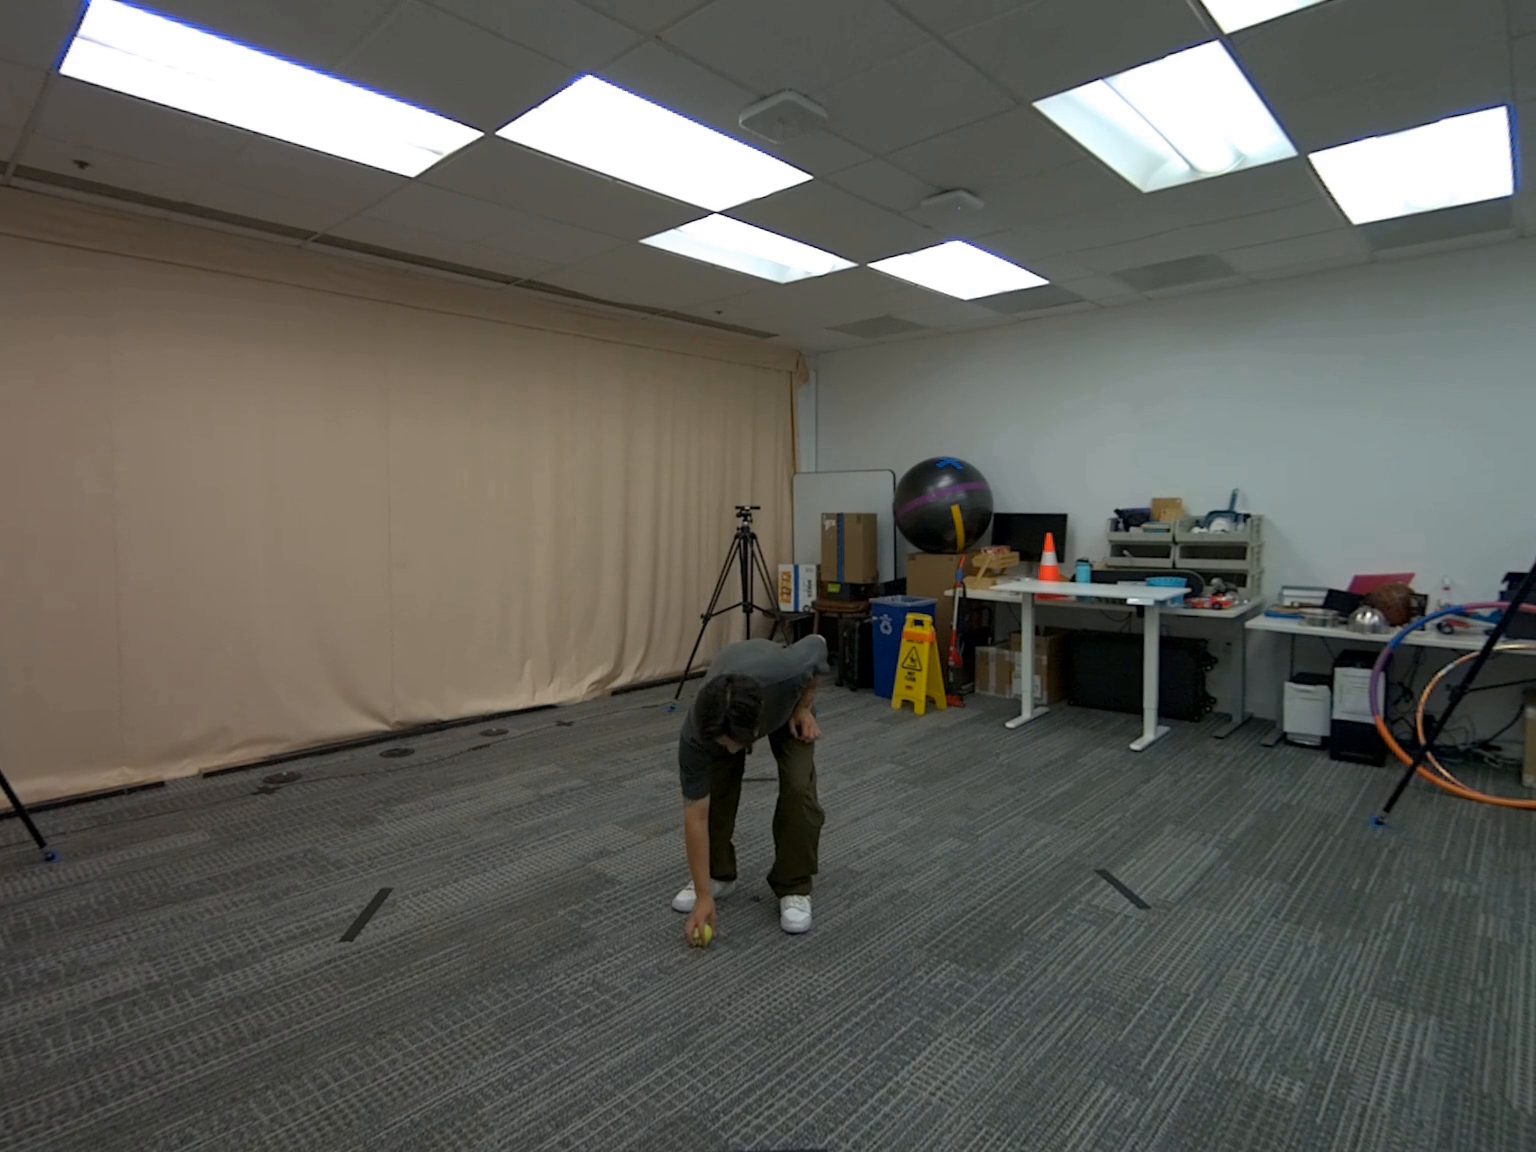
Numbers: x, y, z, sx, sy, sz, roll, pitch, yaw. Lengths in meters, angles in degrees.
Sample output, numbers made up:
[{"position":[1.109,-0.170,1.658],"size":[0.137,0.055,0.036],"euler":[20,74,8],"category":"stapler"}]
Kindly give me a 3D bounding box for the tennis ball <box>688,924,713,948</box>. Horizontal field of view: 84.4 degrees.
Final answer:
[{"position":[-0.211,1.117,2.669],"size":[0.066,0.066,0.067],"euler":[0,4,-2],"category":"tennis ball"}]
